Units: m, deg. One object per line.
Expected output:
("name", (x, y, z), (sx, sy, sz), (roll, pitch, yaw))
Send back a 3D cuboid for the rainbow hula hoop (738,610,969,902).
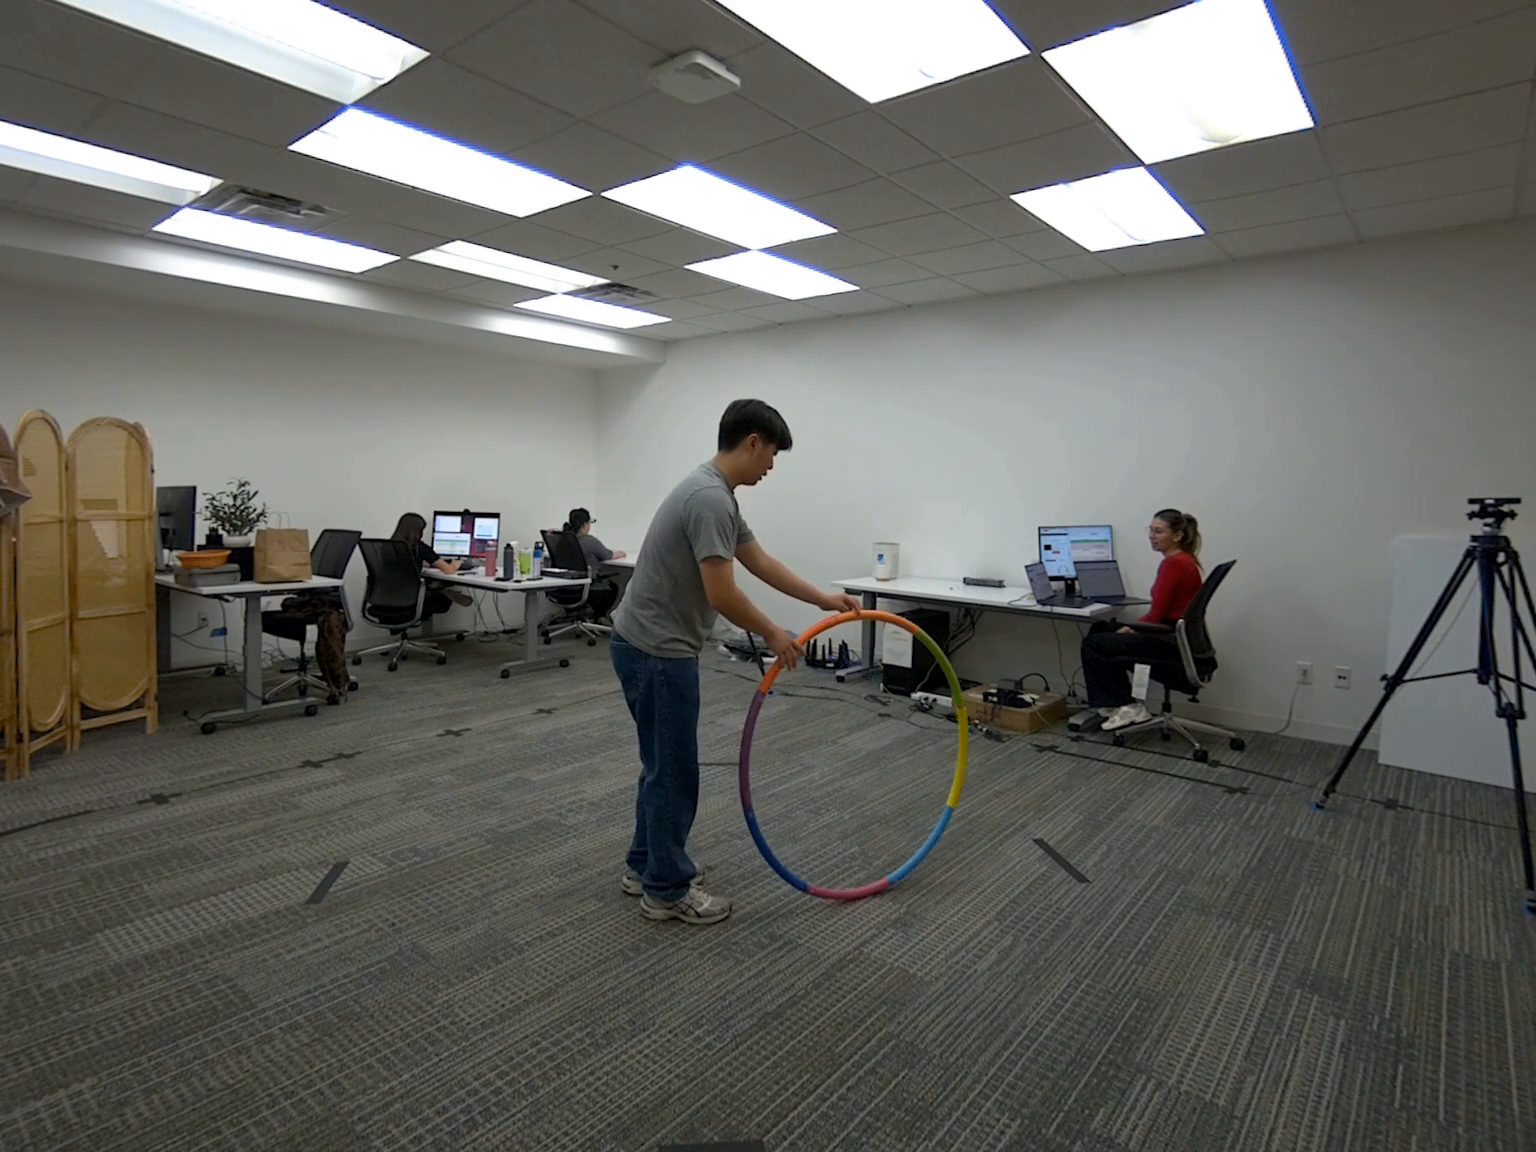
("rainbow hula hoop", (0.313, 0.613, 2.924), (0.952, 0.979, 0.036), (-1, -1, -30))
